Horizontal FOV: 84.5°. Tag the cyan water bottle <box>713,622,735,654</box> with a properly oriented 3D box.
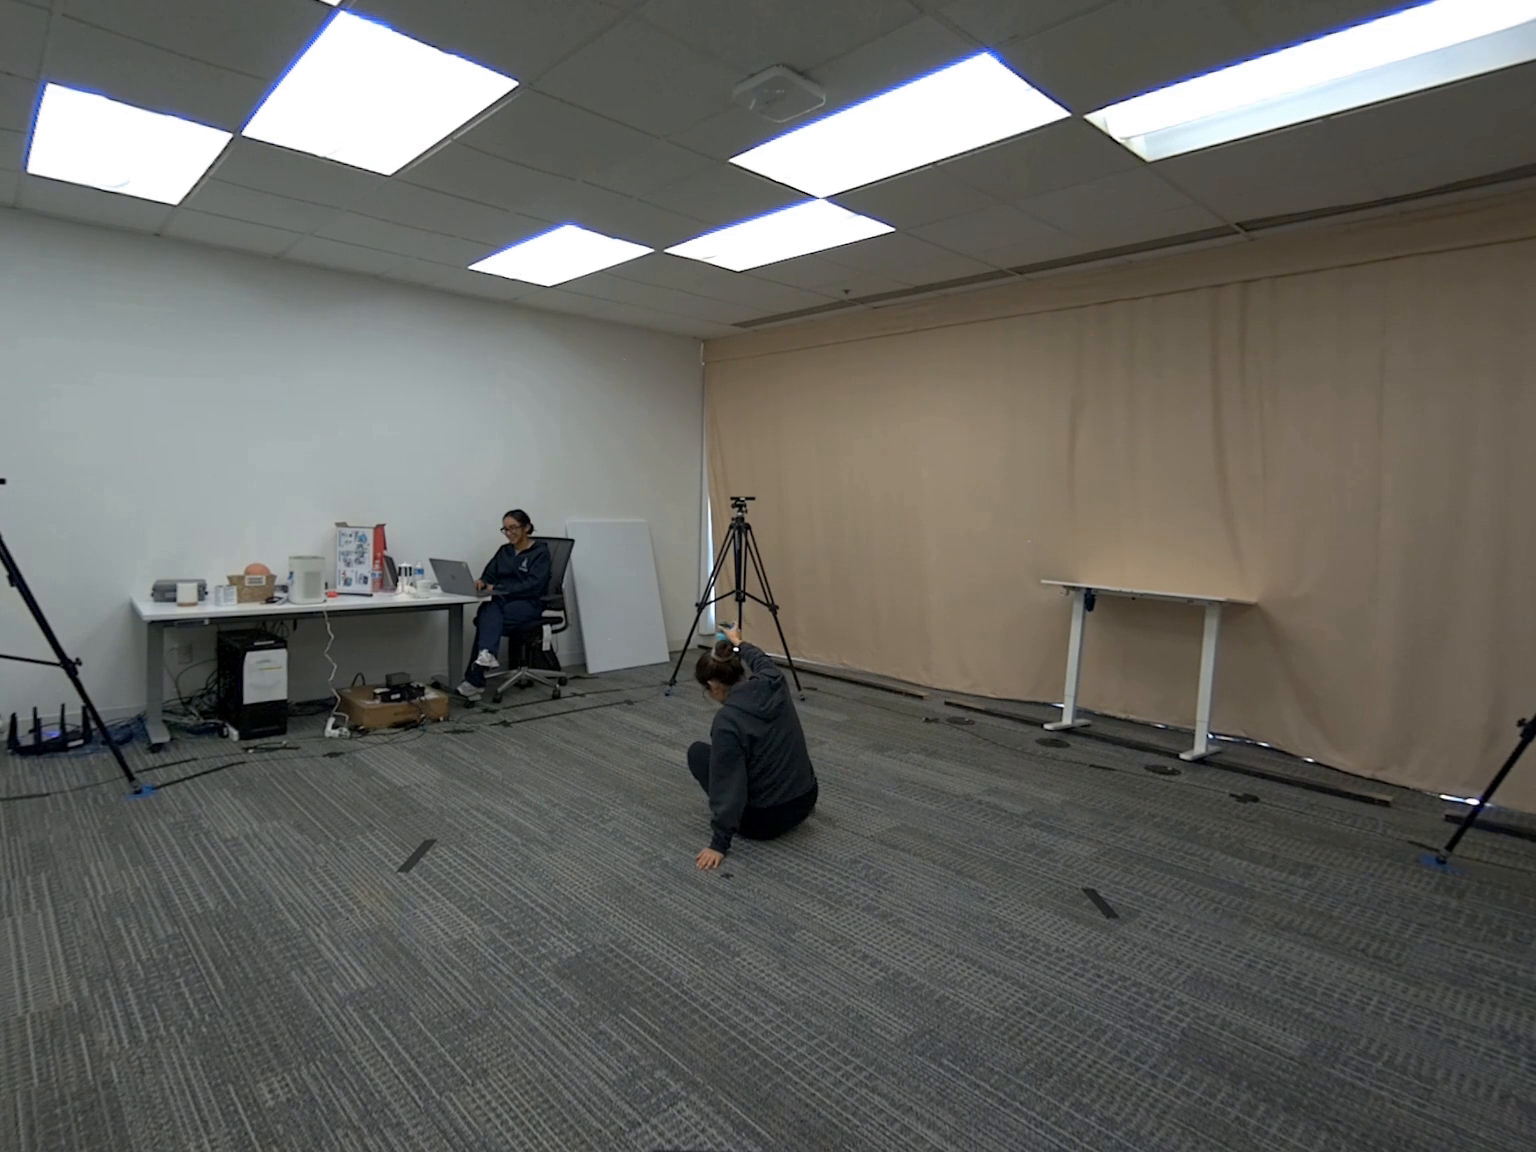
[{"bbox_3d":[-0.224,0.354,4.079,0.092,0.283,0.092,4,2,-2],"label":"cyan water bottle"}]
